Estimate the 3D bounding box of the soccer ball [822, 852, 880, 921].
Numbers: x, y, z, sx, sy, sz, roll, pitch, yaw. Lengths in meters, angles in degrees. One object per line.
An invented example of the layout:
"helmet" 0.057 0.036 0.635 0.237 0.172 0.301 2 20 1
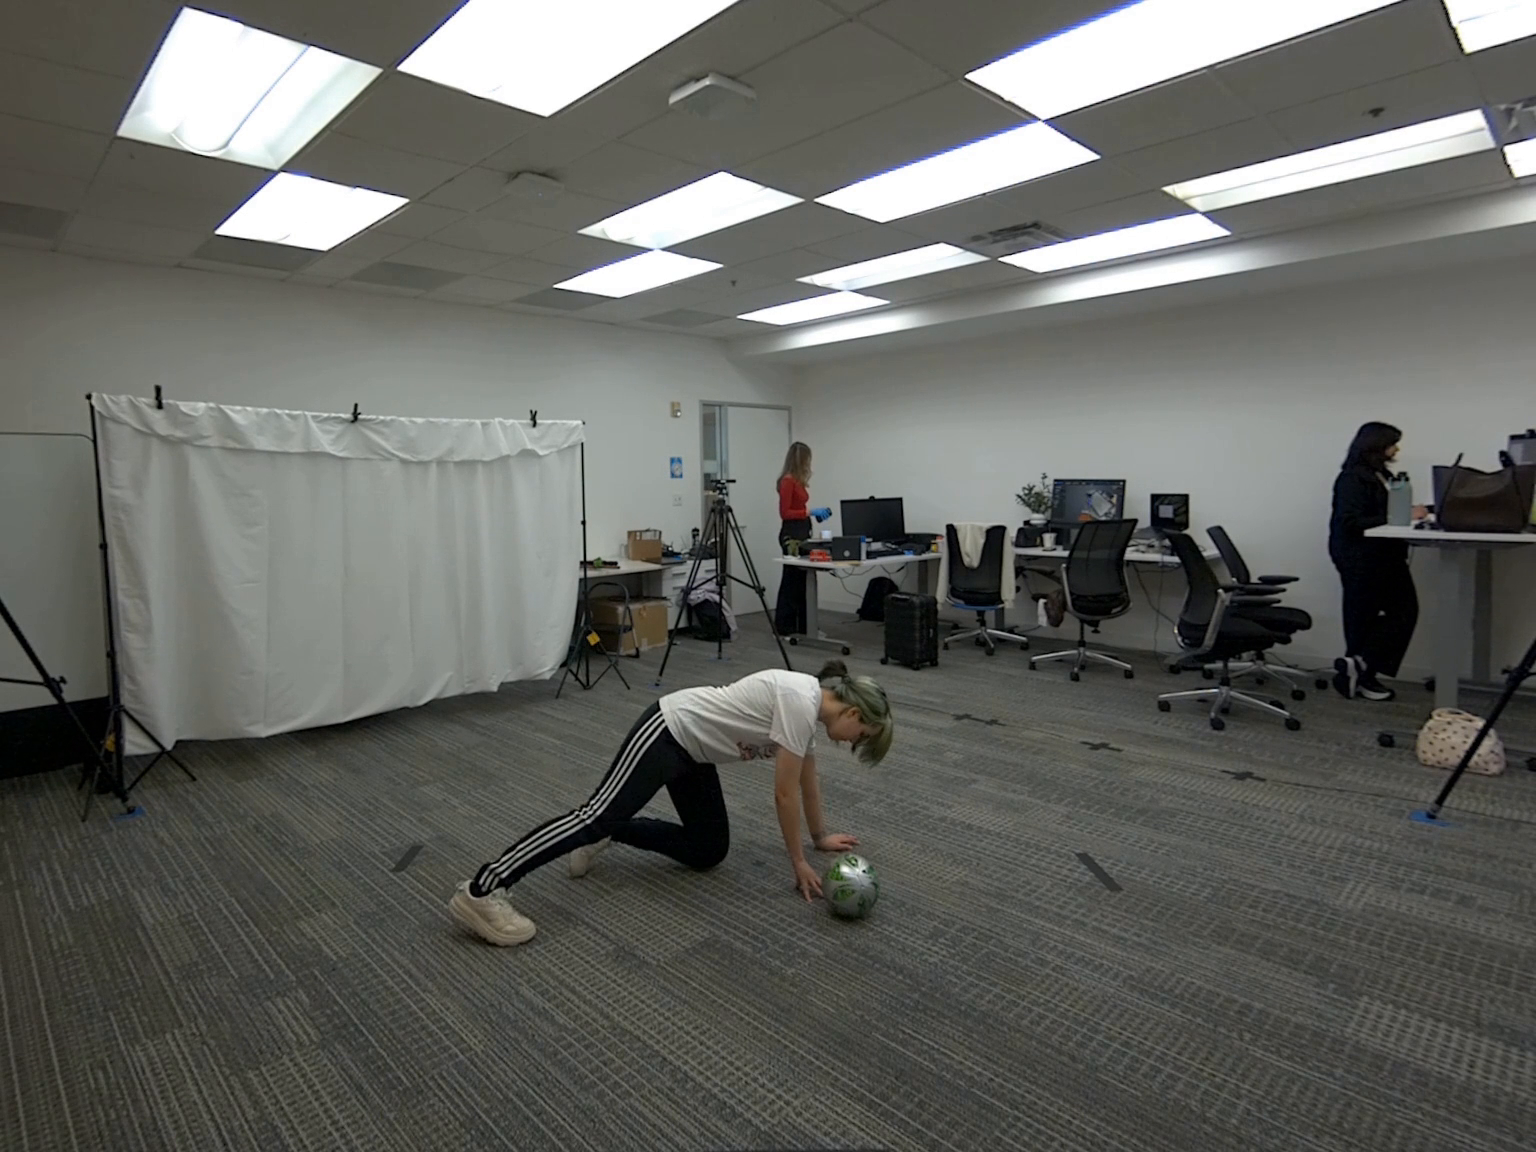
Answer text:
"soccer ball" 0.261 0.986 2.727 0.187 0.187 0.188 -1 5 -2
